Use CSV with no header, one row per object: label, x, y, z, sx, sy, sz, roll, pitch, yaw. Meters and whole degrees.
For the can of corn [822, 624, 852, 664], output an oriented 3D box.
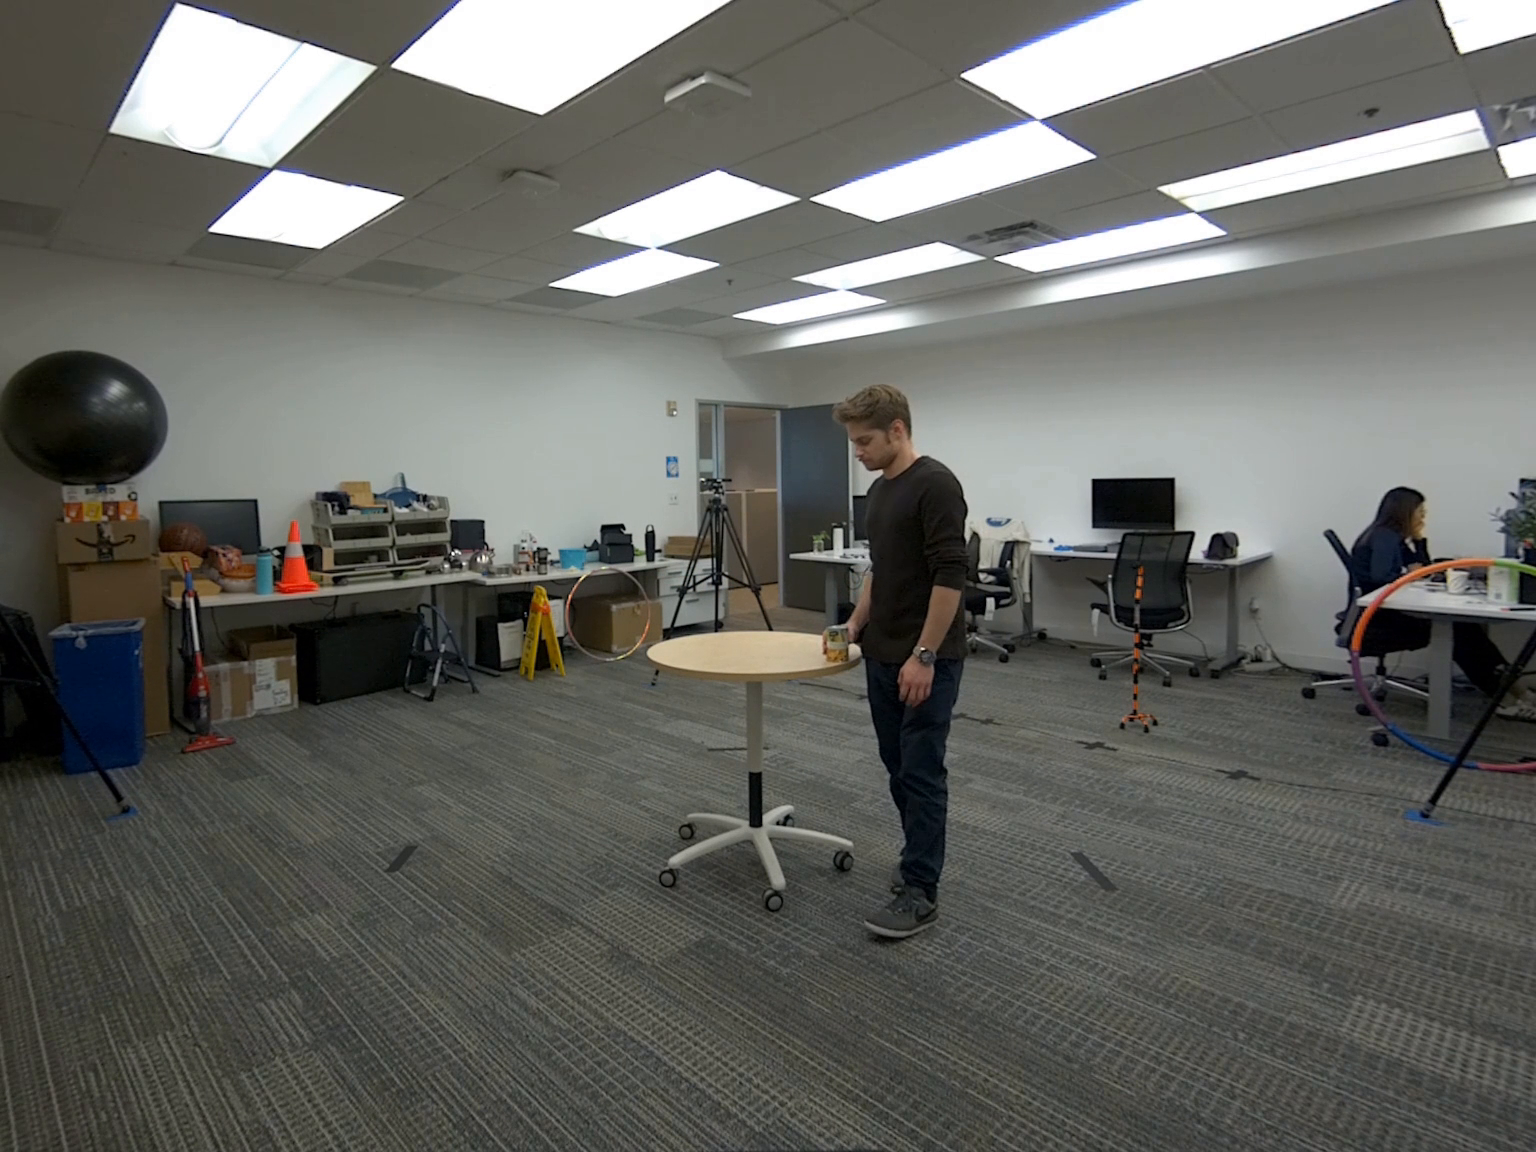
can of corn,0.240,0.228,2.857,0.074,0.111,0.074,-1,2,-2
